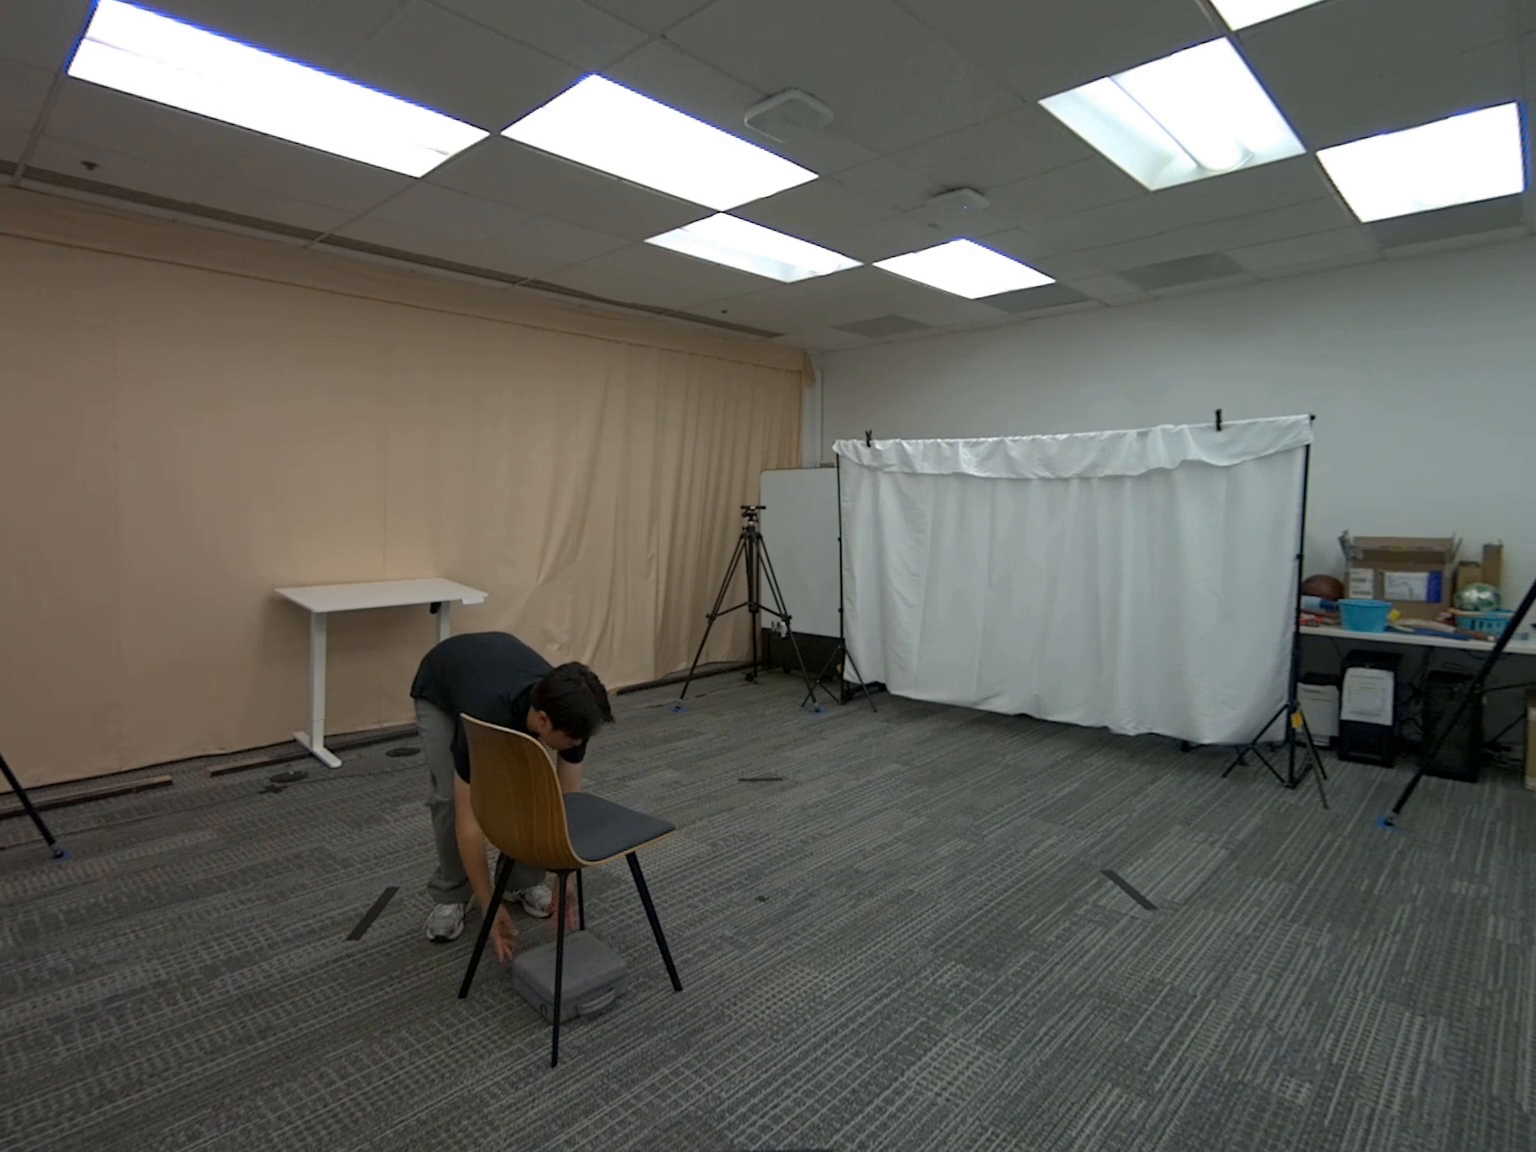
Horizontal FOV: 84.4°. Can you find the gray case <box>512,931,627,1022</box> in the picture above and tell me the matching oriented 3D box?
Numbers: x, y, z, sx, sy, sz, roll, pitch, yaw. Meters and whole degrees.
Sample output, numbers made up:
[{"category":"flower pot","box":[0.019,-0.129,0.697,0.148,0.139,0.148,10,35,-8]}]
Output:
[{"category":"gray case","box":[-0.556,1.139,2.398,0.255,0.103,0.297,-5,7,-40]}]
